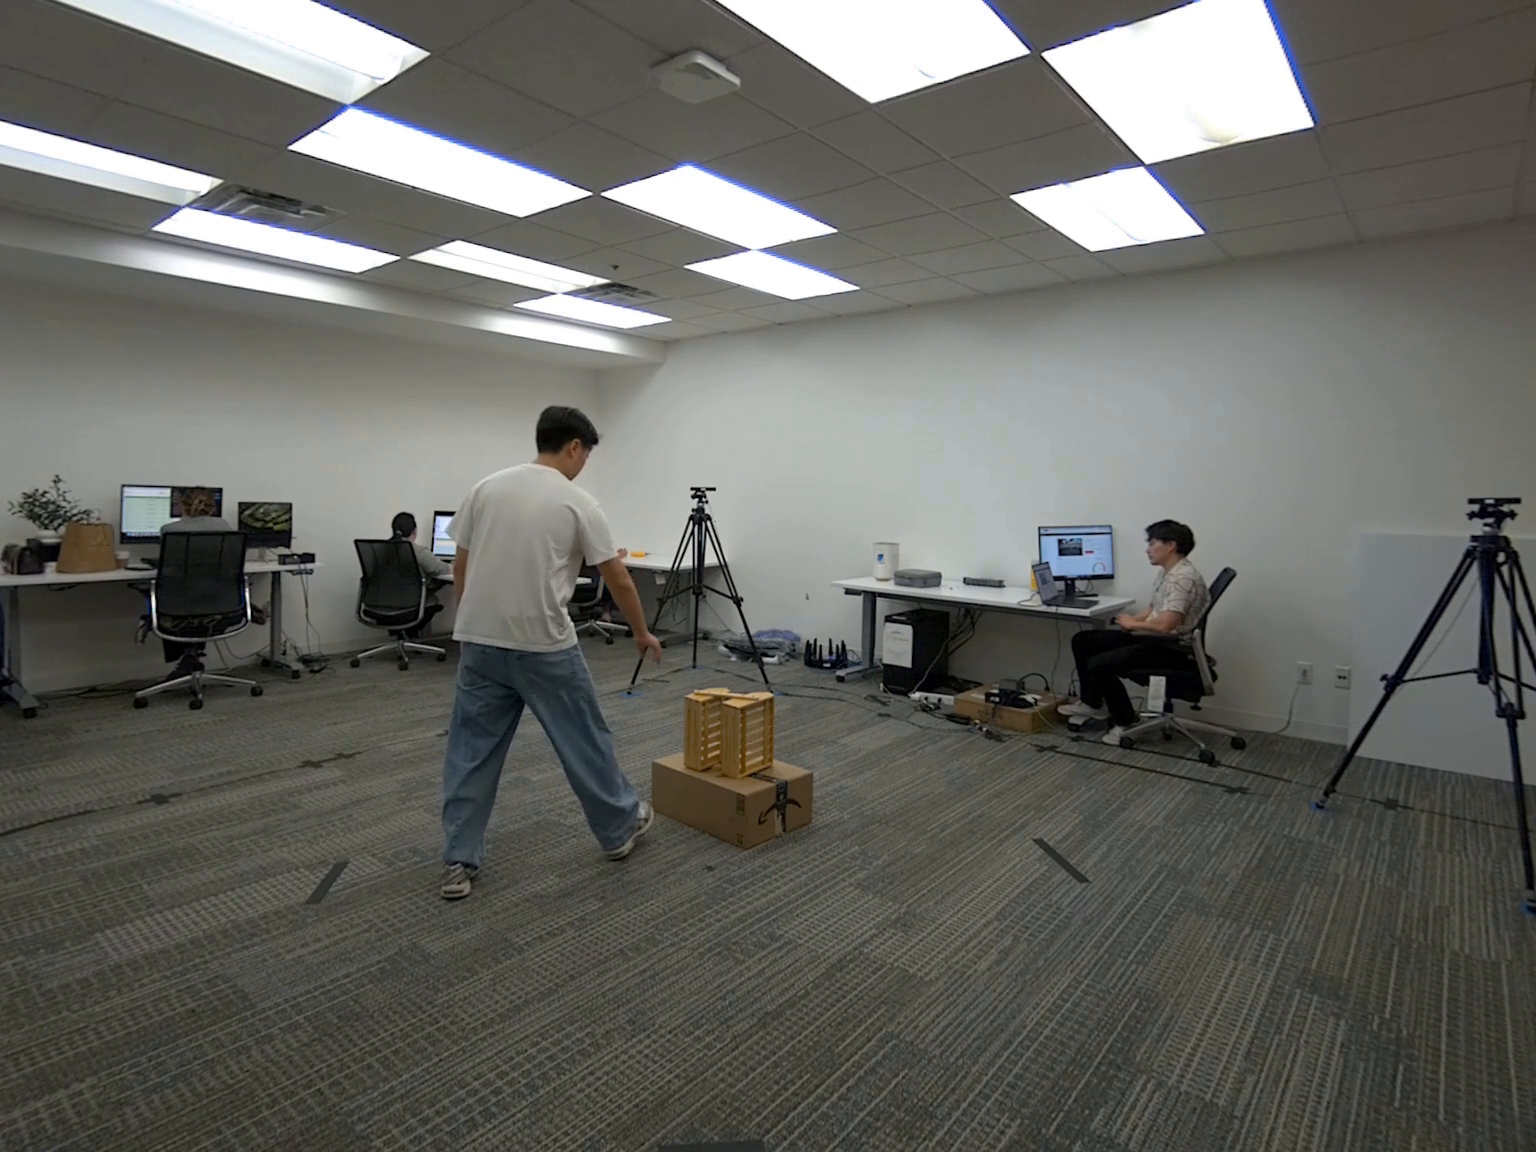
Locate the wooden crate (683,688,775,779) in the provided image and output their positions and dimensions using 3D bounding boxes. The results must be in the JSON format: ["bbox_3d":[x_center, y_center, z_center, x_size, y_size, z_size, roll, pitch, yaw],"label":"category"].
[{"bbox_3d":[-0.171,0.644,3.598,0.283,0.322,0.294,8,11,40],"label":"wooden crate"}]
